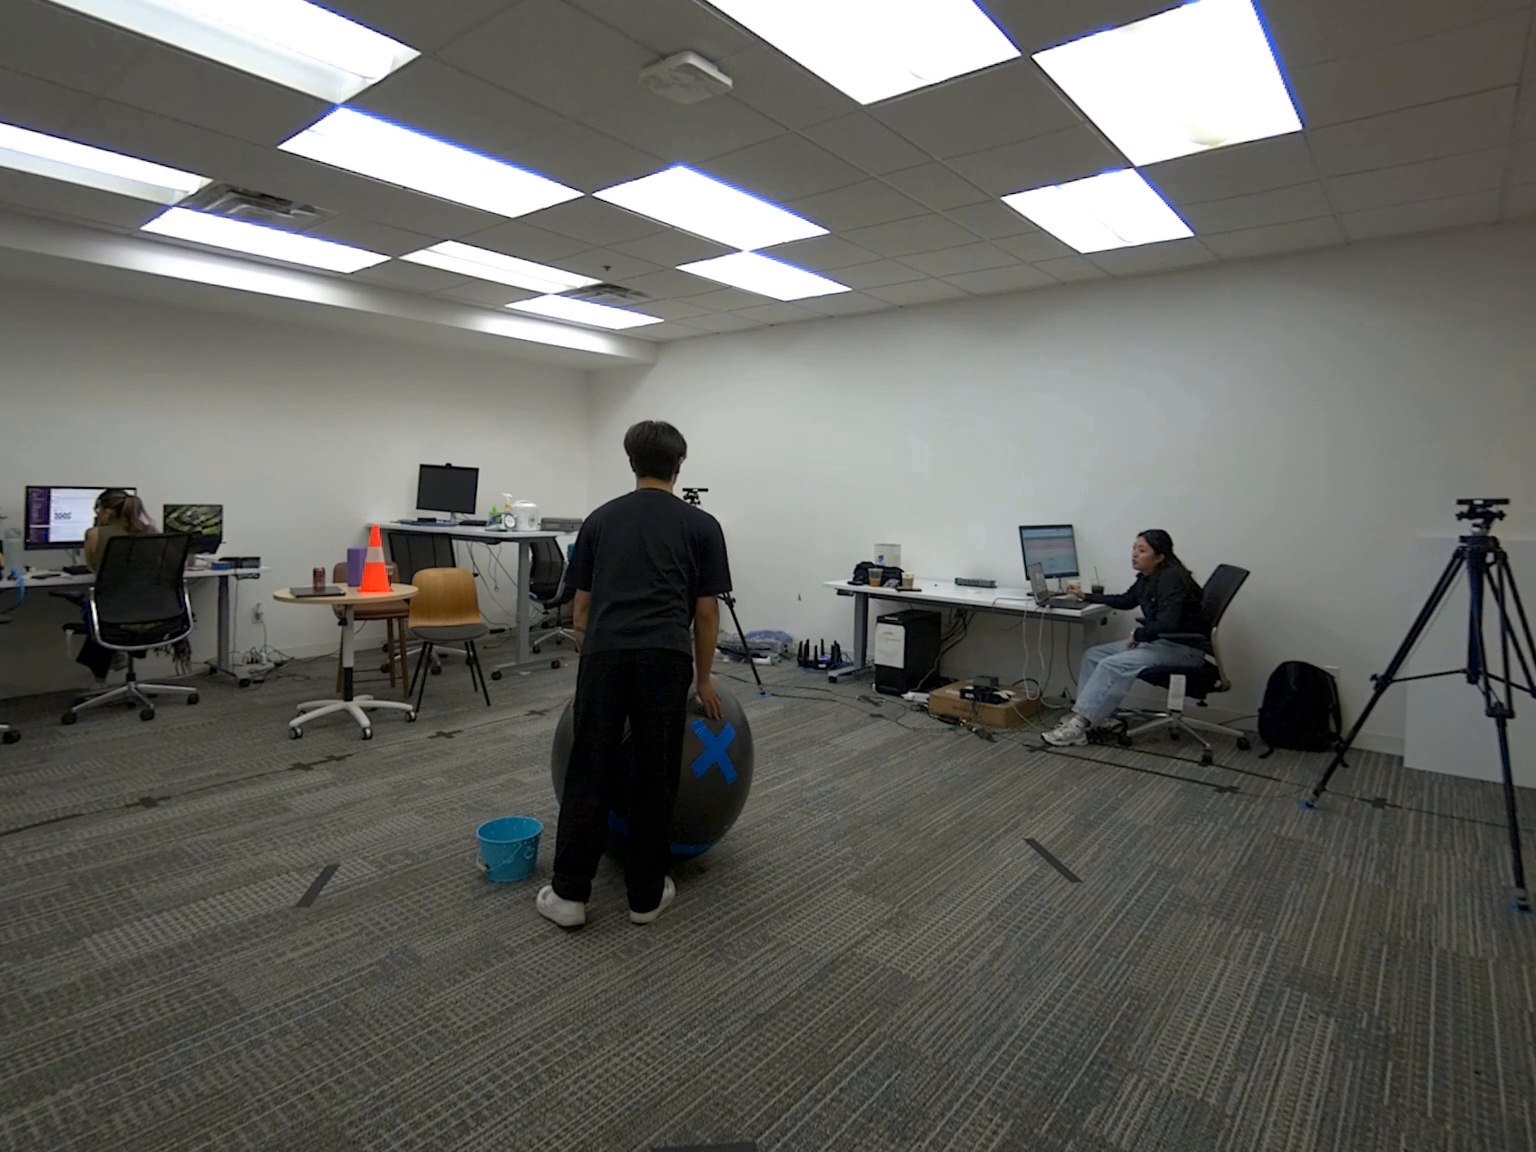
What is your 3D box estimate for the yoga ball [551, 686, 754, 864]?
[{"bbox_3d":[-0.441,0.691,3.194,0.757,0.755,0.762,1,4,-2],"label":"yoga ball"}]
